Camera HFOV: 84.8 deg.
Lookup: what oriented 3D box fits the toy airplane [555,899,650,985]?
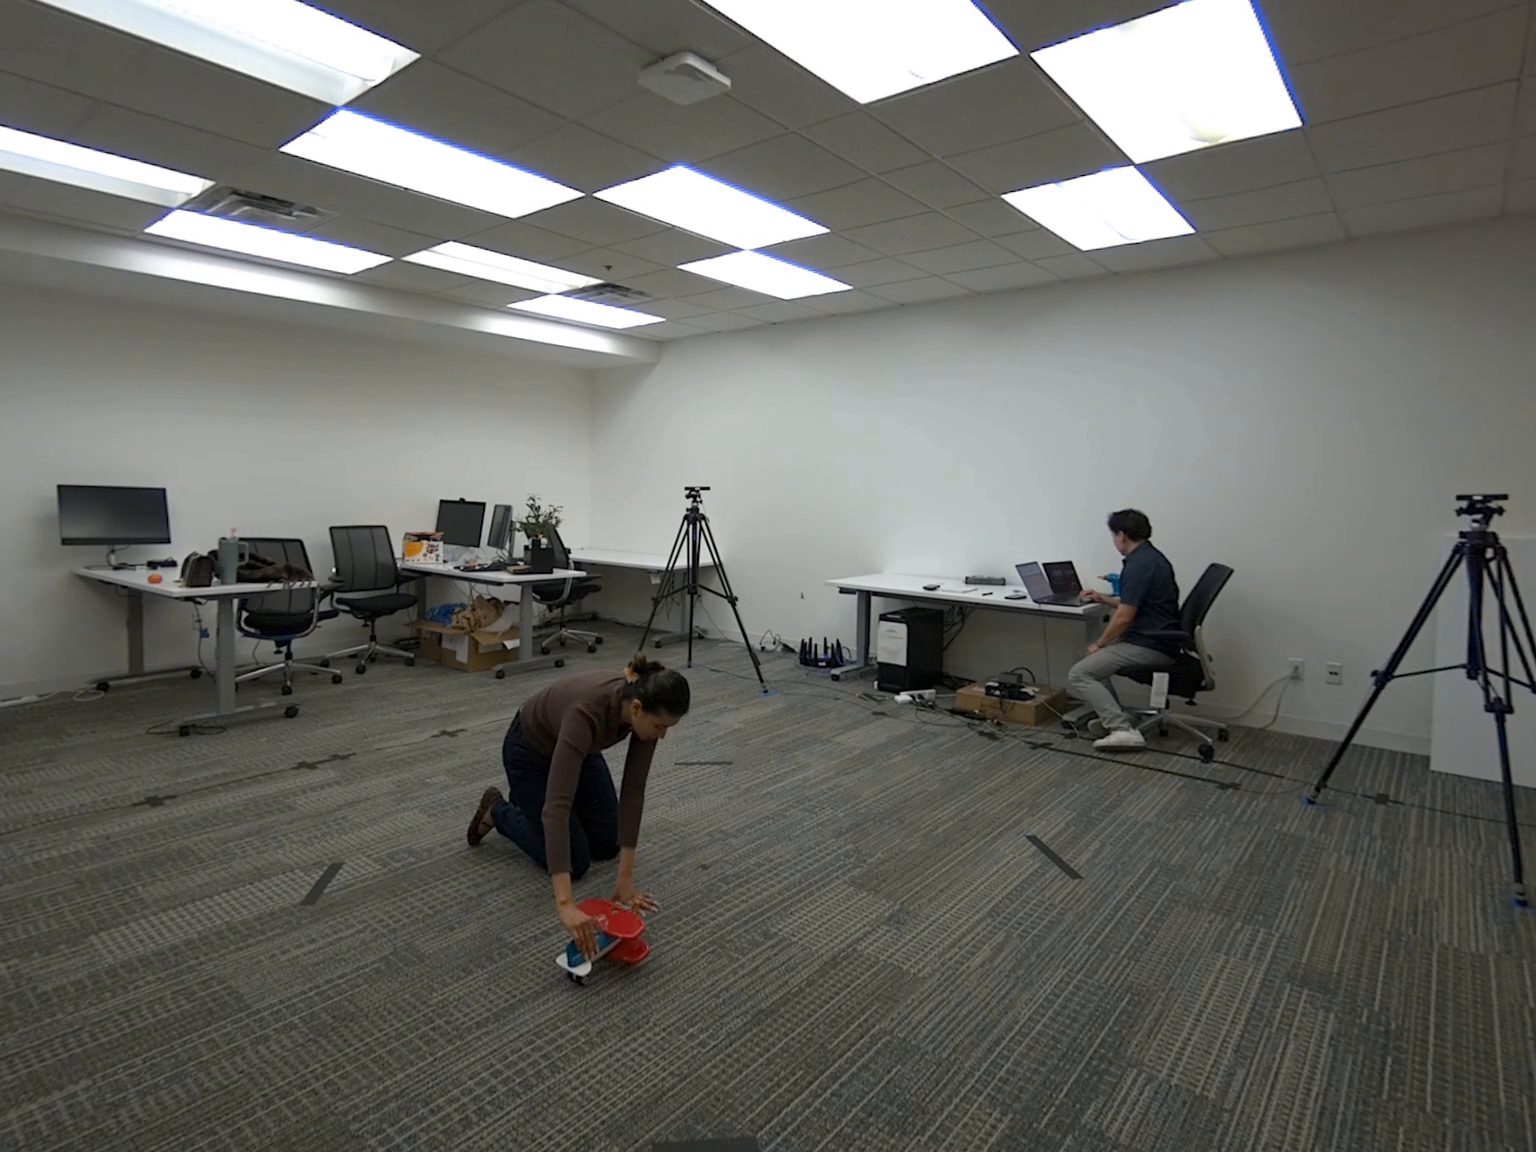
[{"bbox_3d":[-0.470,1.057,2.437,0.254,0.156,0.257,1,4,9],"label":"toy airplane"}]
